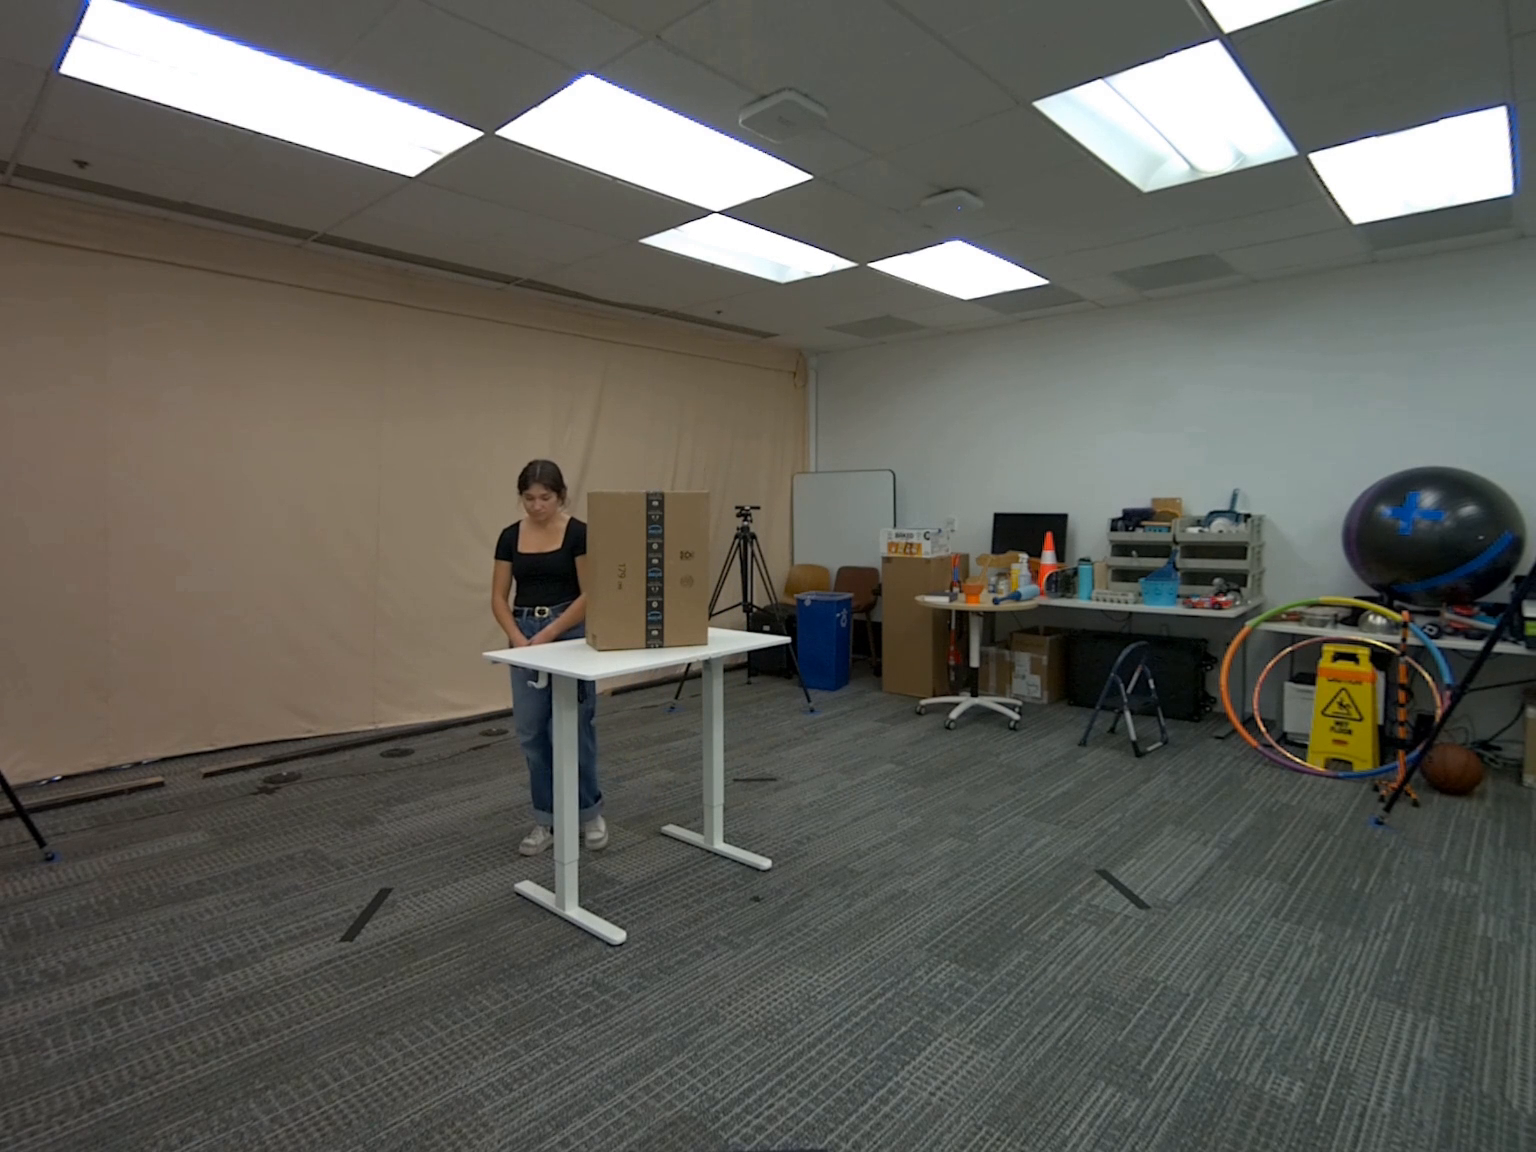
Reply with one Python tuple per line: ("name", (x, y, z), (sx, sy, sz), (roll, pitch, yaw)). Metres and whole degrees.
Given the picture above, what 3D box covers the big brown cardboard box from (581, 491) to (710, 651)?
("big brown cardboard box", (-0.443, -0.025, 3.118), (0.409, 0.588, 0.238), (0, 3, -21))
